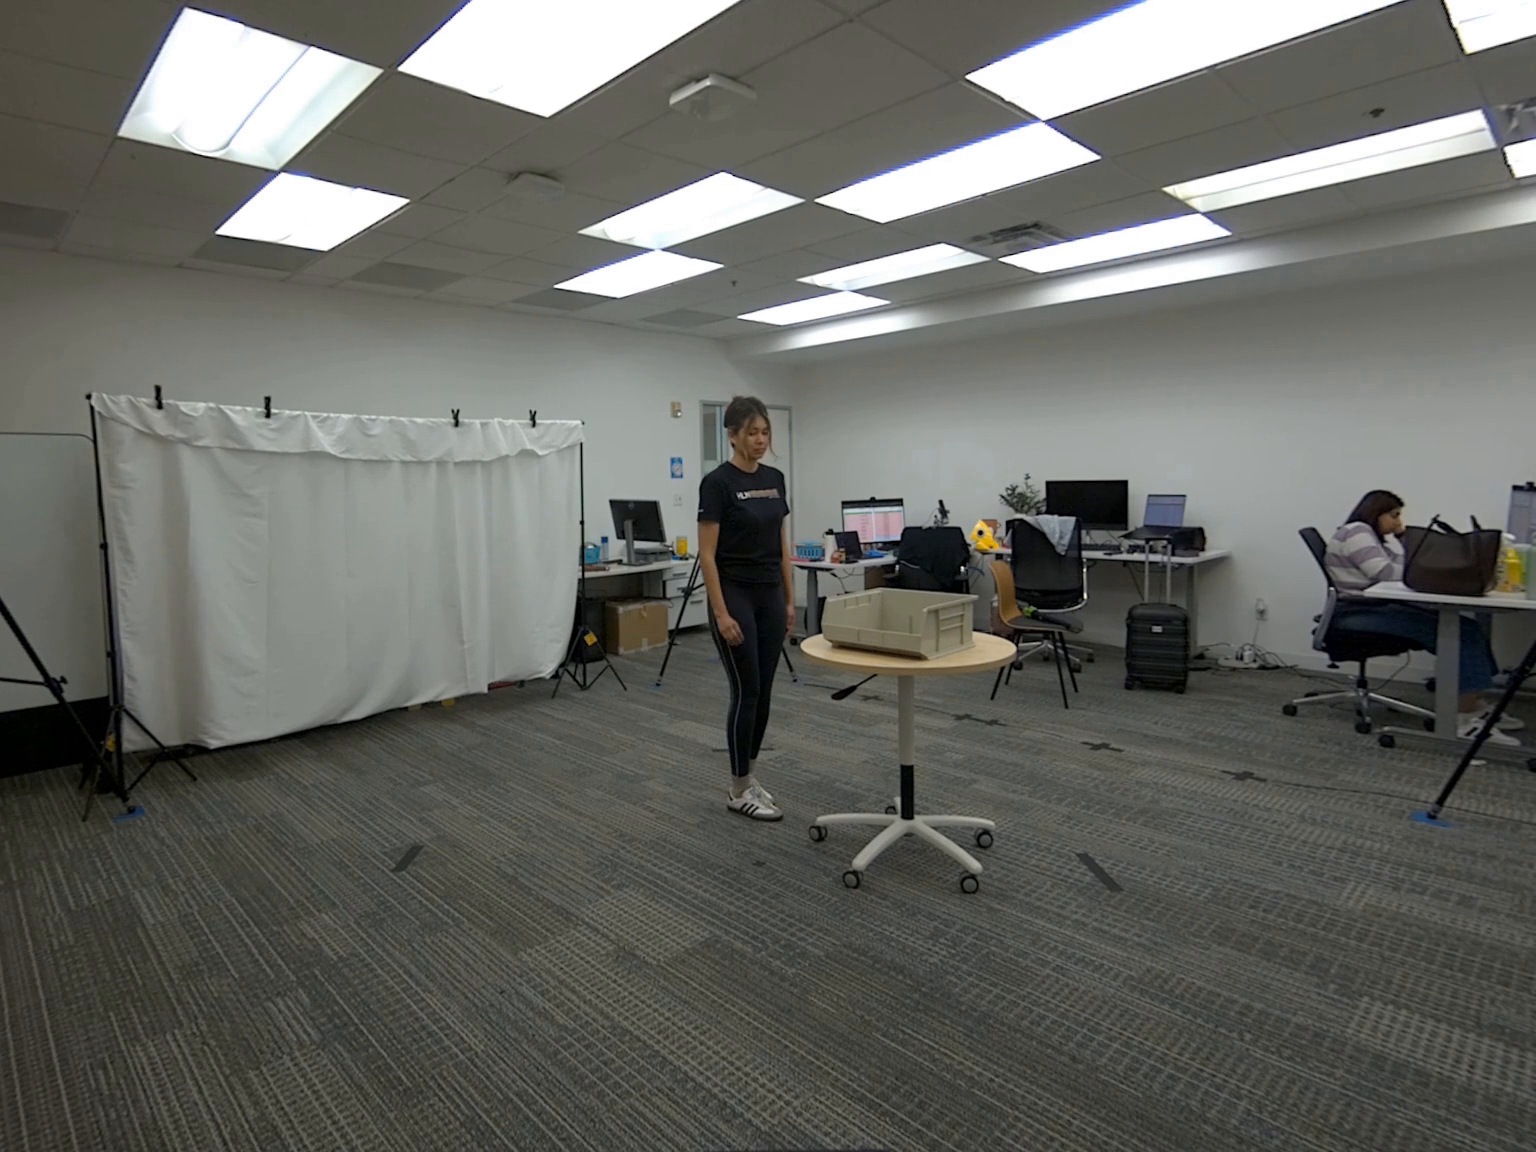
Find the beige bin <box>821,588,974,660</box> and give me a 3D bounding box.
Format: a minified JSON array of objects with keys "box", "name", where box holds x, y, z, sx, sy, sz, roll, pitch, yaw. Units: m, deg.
[{"box":[0.474,0.169,3.072,0.435,0.188,0.367,3,6,44],"name":"beige bin"}]
